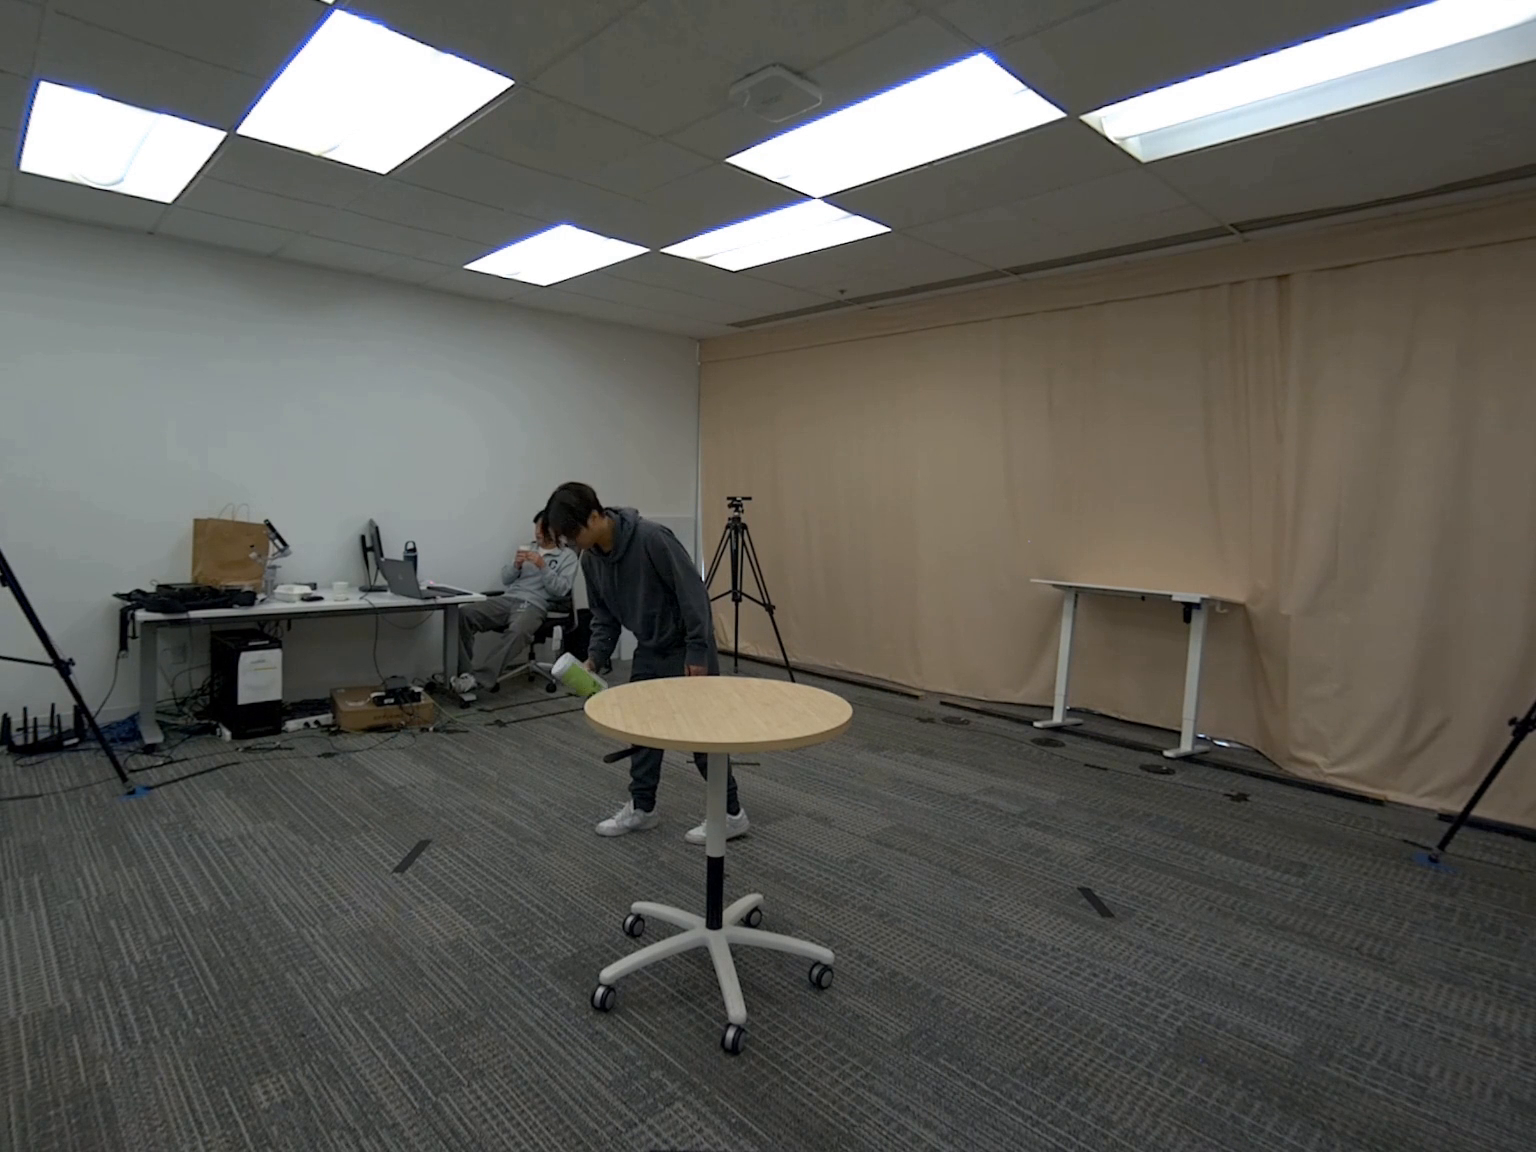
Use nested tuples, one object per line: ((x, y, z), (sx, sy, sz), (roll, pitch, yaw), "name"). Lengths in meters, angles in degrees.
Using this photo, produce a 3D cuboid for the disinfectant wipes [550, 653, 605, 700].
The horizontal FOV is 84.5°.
((-0.764, 0.406, 3.396), (0.213, 0.118, 0.120), (41, -13, -22), "disinfectant wipes")
